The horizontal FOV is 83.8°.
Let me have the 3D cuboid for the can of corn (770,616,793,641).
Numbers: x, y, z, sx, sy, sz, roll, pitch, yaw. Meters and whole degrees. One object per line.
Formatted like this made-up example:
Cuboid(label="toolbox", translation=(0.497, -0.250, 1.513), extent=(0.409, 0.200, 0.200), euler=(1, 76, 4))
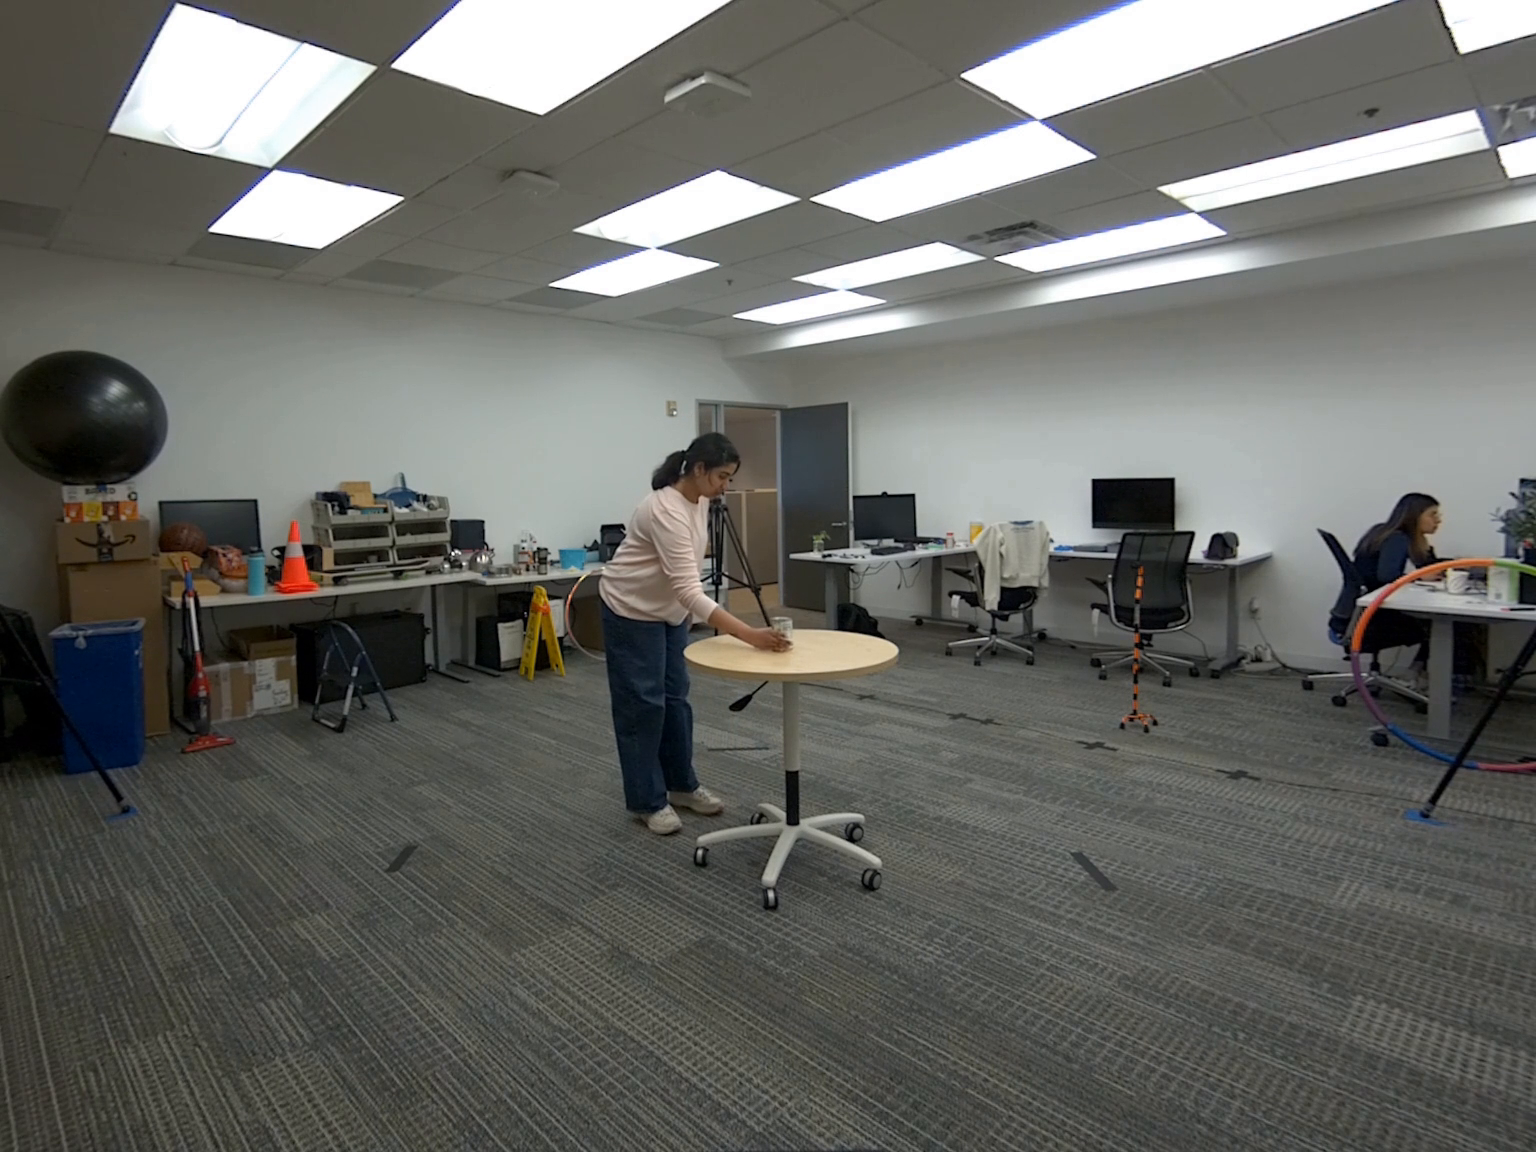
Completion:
Cuboid(label="can of corn", translation=(0.048, 0.204, 3.057), extent=(0.074, 0.111, 0.074), euler=(-2, 3, -2))
